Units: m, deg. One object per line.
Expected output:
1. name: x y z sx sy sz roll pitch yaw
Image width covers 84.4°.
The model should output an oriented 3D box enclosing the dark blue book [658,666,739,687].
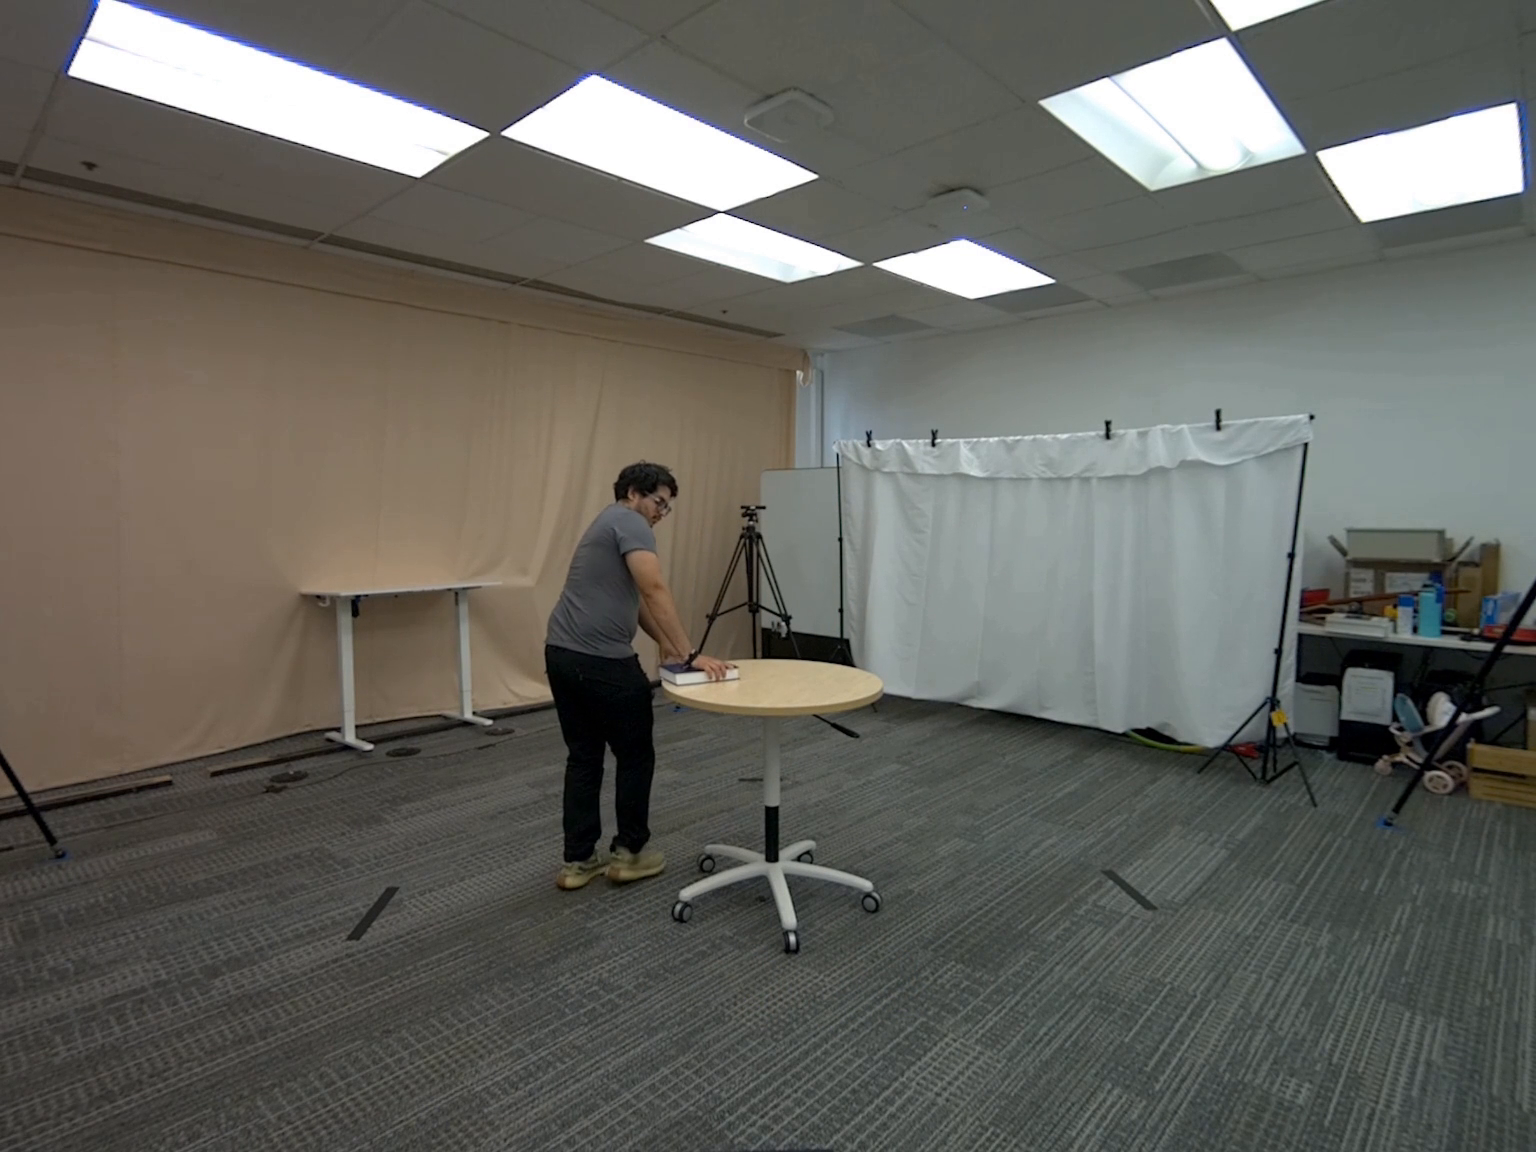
1. dark blue book: -0.234 0.344 2.975 0.240 0.045 0.167 -1 5 -22
